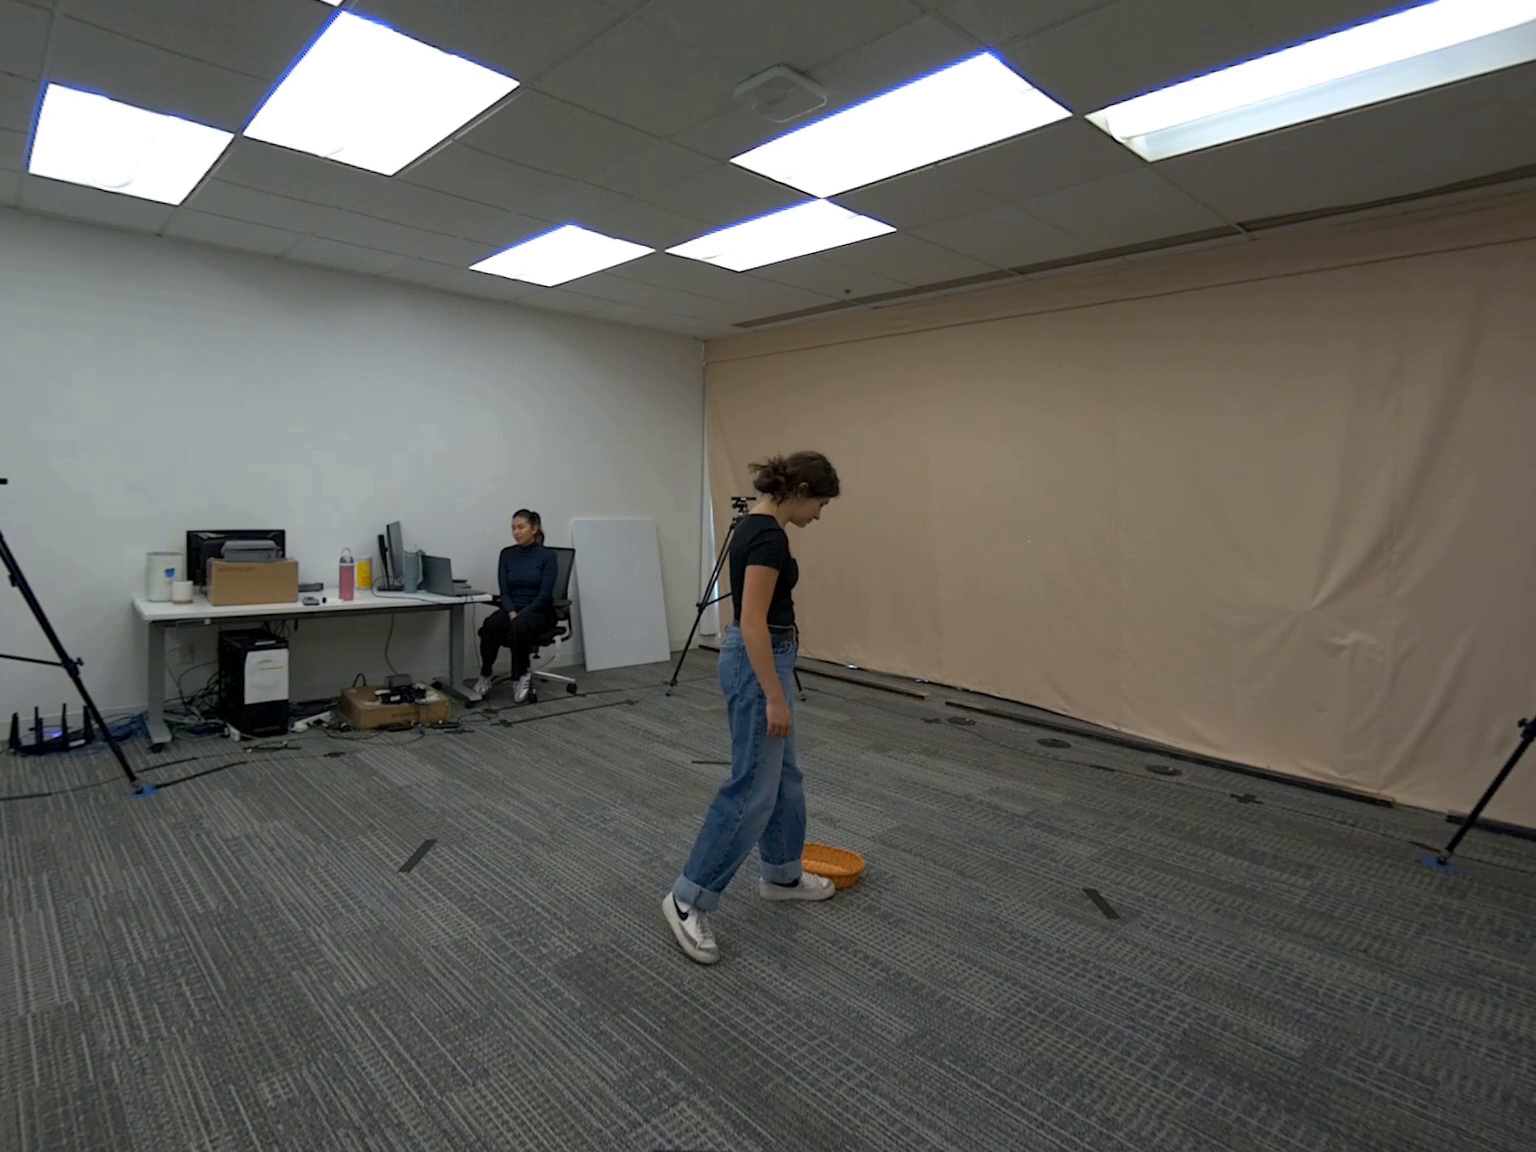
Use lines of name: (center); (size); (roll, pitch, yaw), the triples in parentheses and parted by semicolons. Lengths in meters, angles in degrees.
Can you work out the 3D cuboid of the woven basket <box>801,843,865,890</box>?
woven basket: (0.179, 1.073, 3.118); (0.357, 0.073, 0.248); (4, 4, 24)
